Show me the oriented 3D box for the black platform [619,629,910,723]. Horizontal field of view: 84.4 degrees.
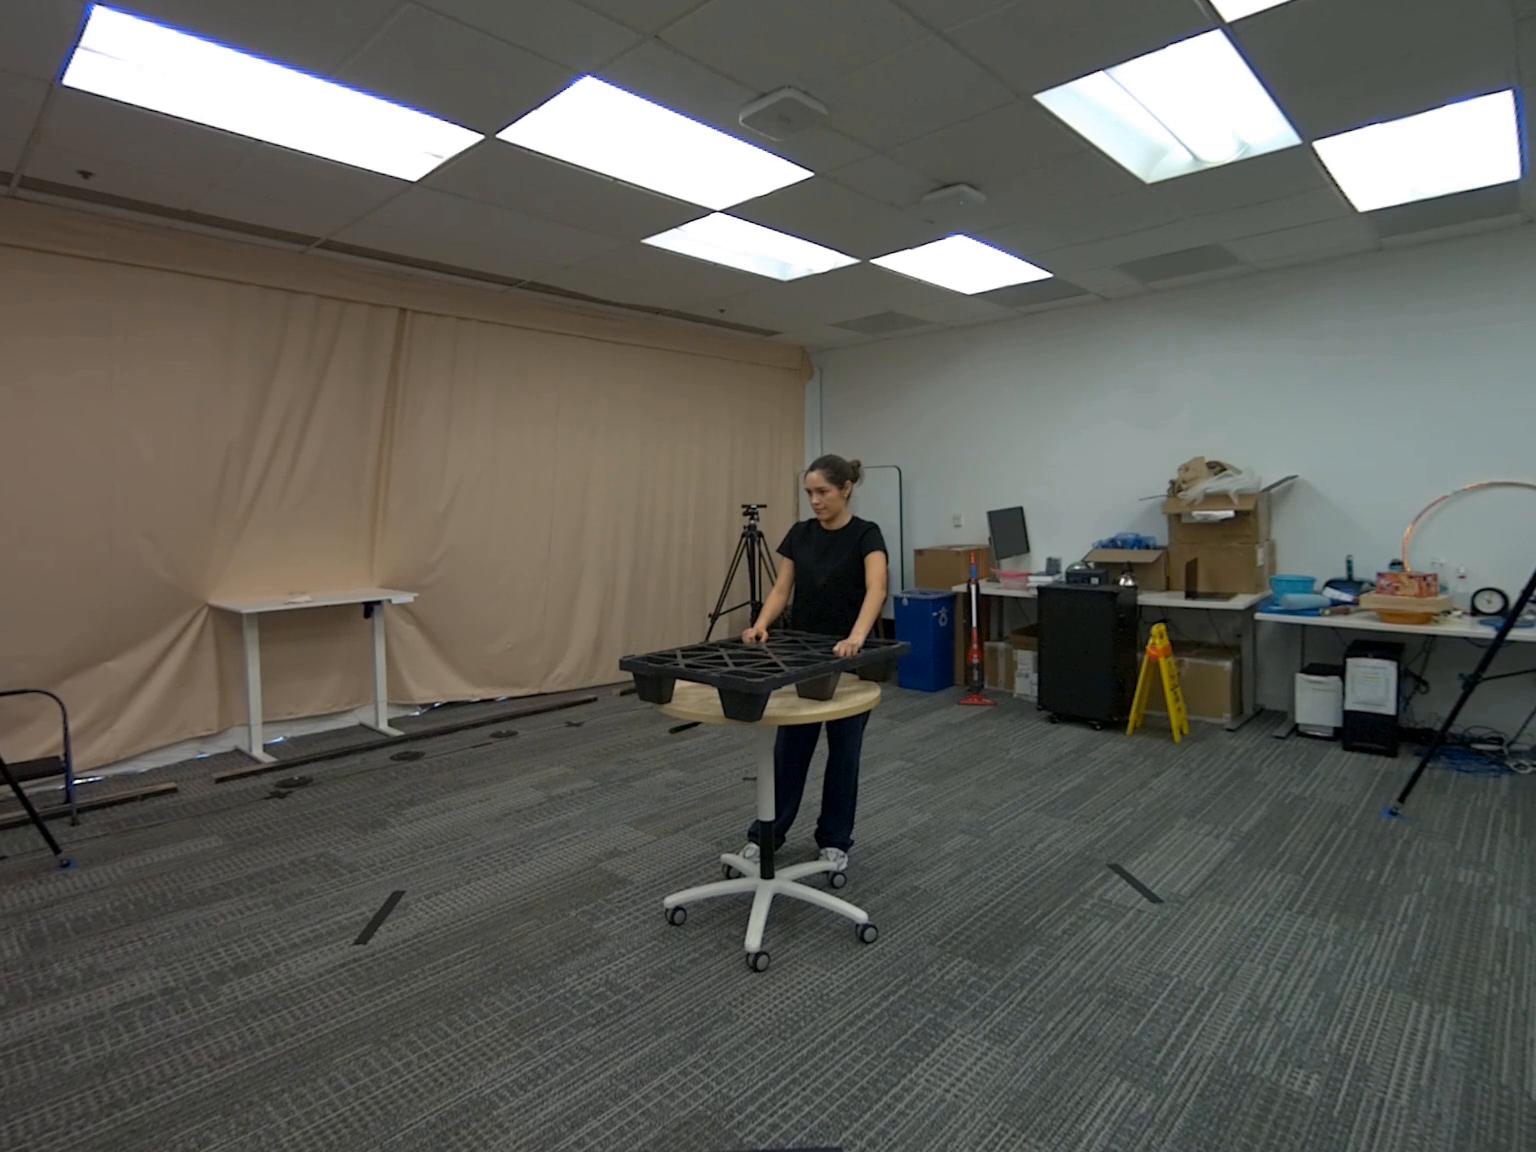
[{"bbox_3d":[0.027,0.313,2.760,0.625,0.143,0.781,4,6,42],"label":"black platform"}]
